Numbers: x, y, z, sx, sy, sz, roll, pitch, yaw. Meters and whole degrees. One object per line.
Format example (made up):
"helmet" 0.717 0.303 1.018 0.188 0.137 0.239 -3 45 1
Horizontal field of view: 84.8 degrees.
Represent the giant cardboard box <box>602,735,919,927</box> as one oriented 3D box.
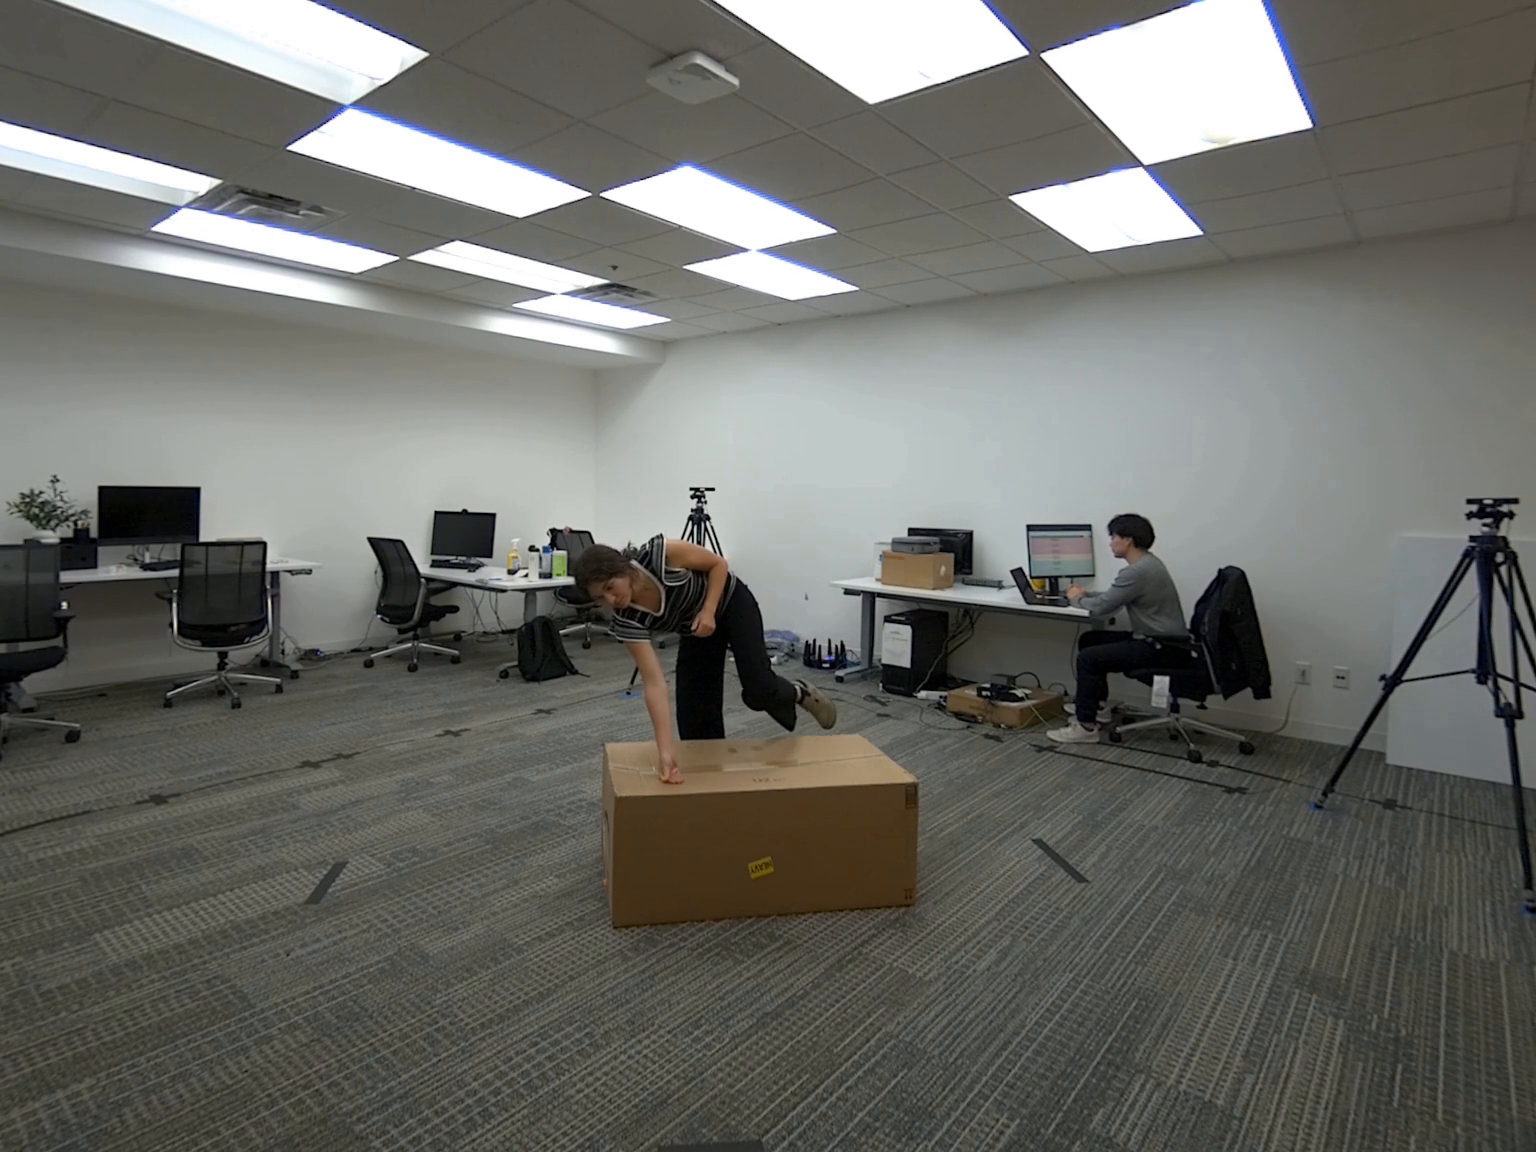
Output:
"giant cardboard box" -0.068 0.867 3.037 1.013 0.425 0.587 0 4 -12
